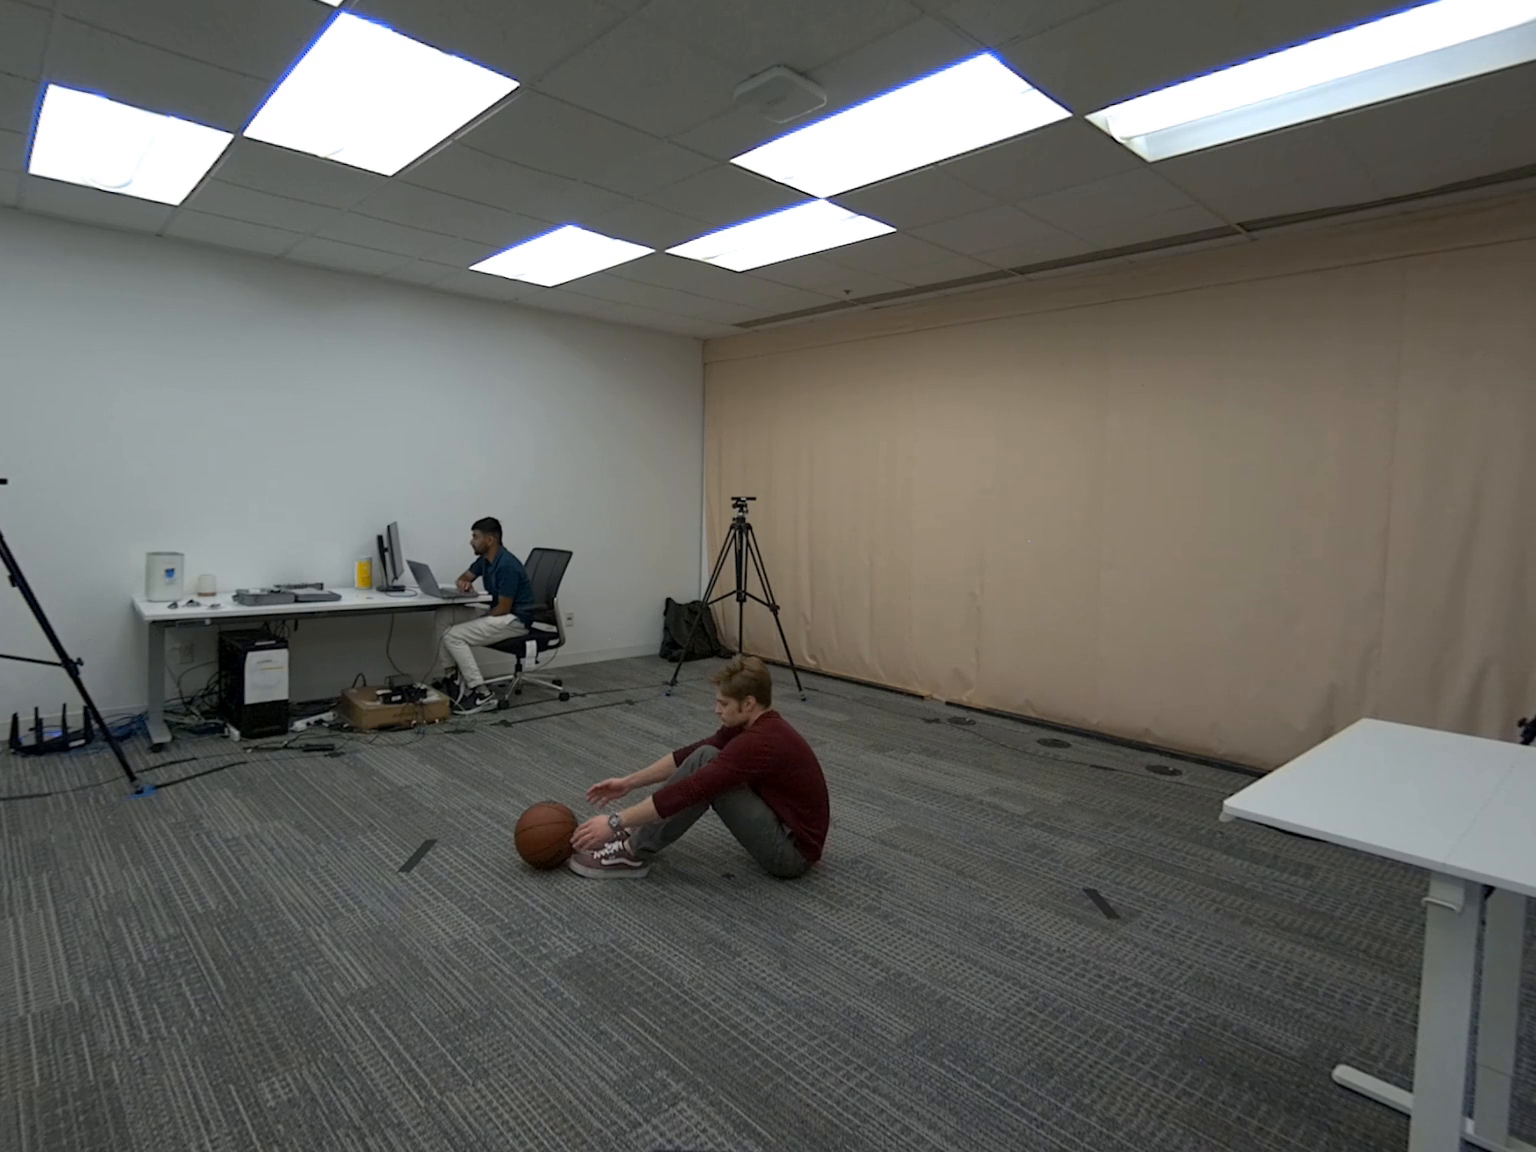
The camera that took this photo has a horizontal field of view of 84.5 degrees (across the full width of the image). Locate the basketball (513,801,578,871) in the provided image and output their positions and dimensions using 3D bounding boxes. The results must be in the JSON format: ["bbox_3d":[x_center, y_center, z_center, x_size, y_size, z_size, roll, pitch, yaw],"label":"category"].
[{"bbox_3d":[-0.825,0.956,3.143,0.236,0.235,0.237,1,4,-1],"label":"basketball"}]
